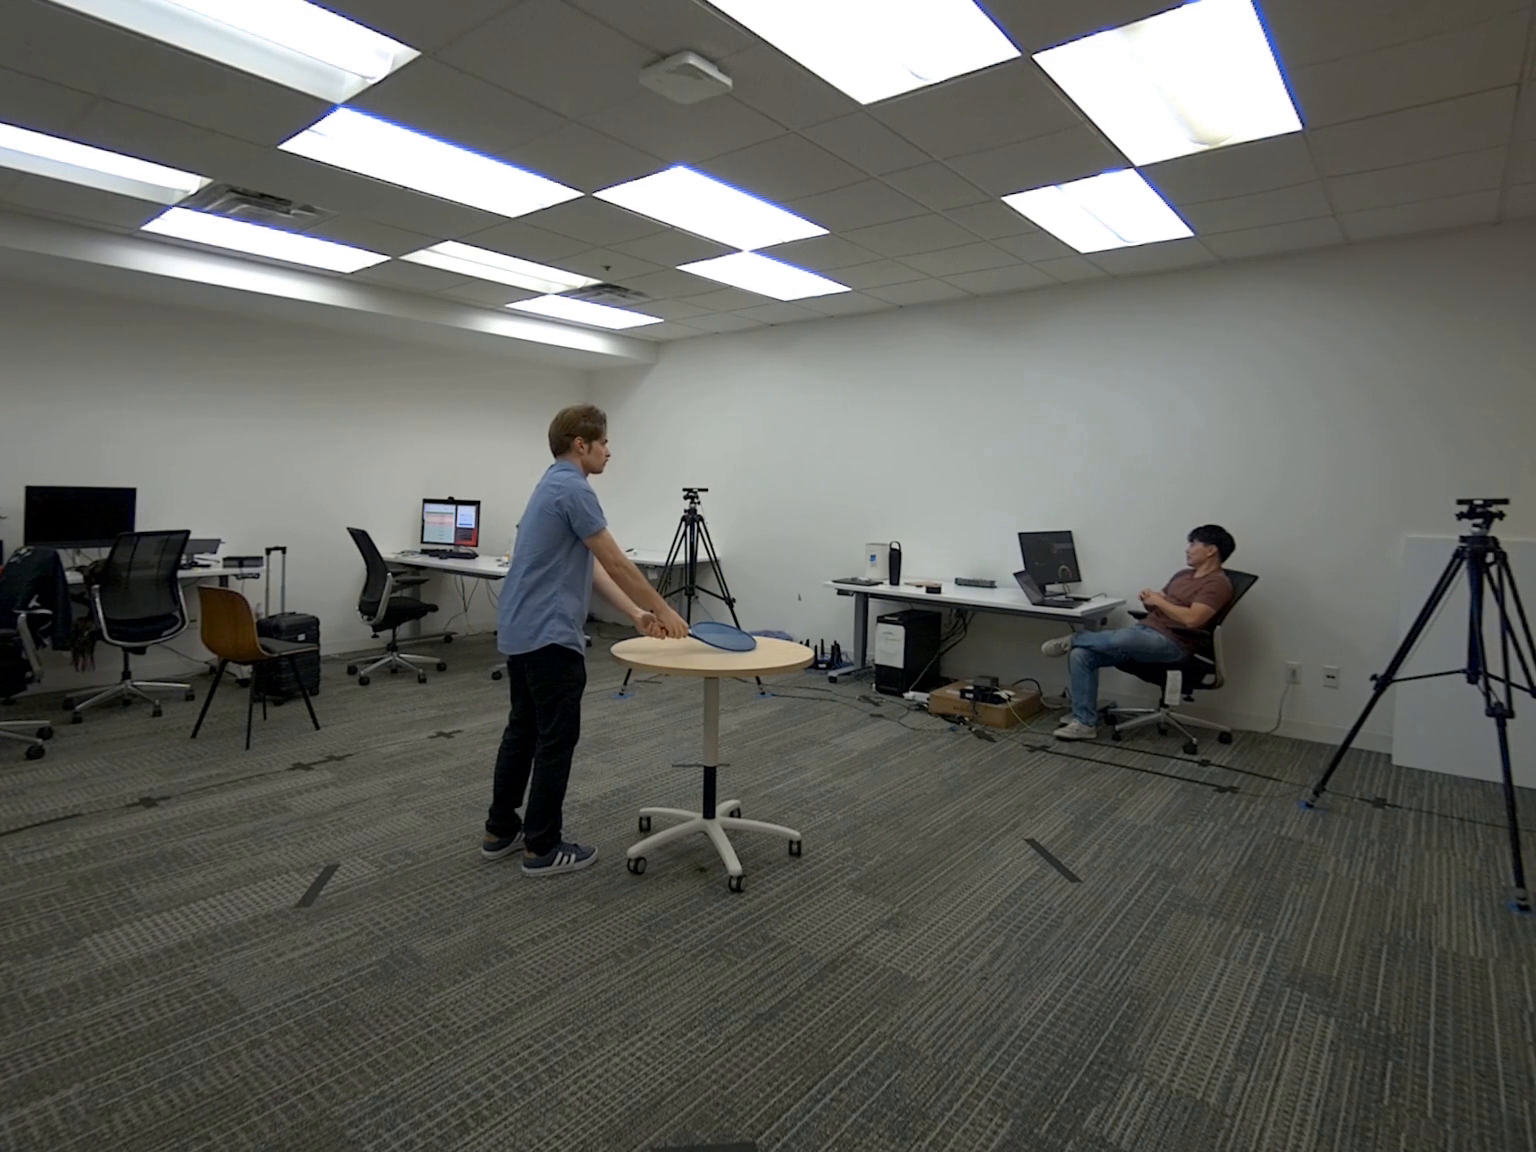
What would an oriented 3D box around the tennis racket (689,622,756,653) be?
[{"bbox_3d":[-0.249,0.219,3.196,0.422,0.031,0.221,10,20,-23],"label":"tennis racket"}]
